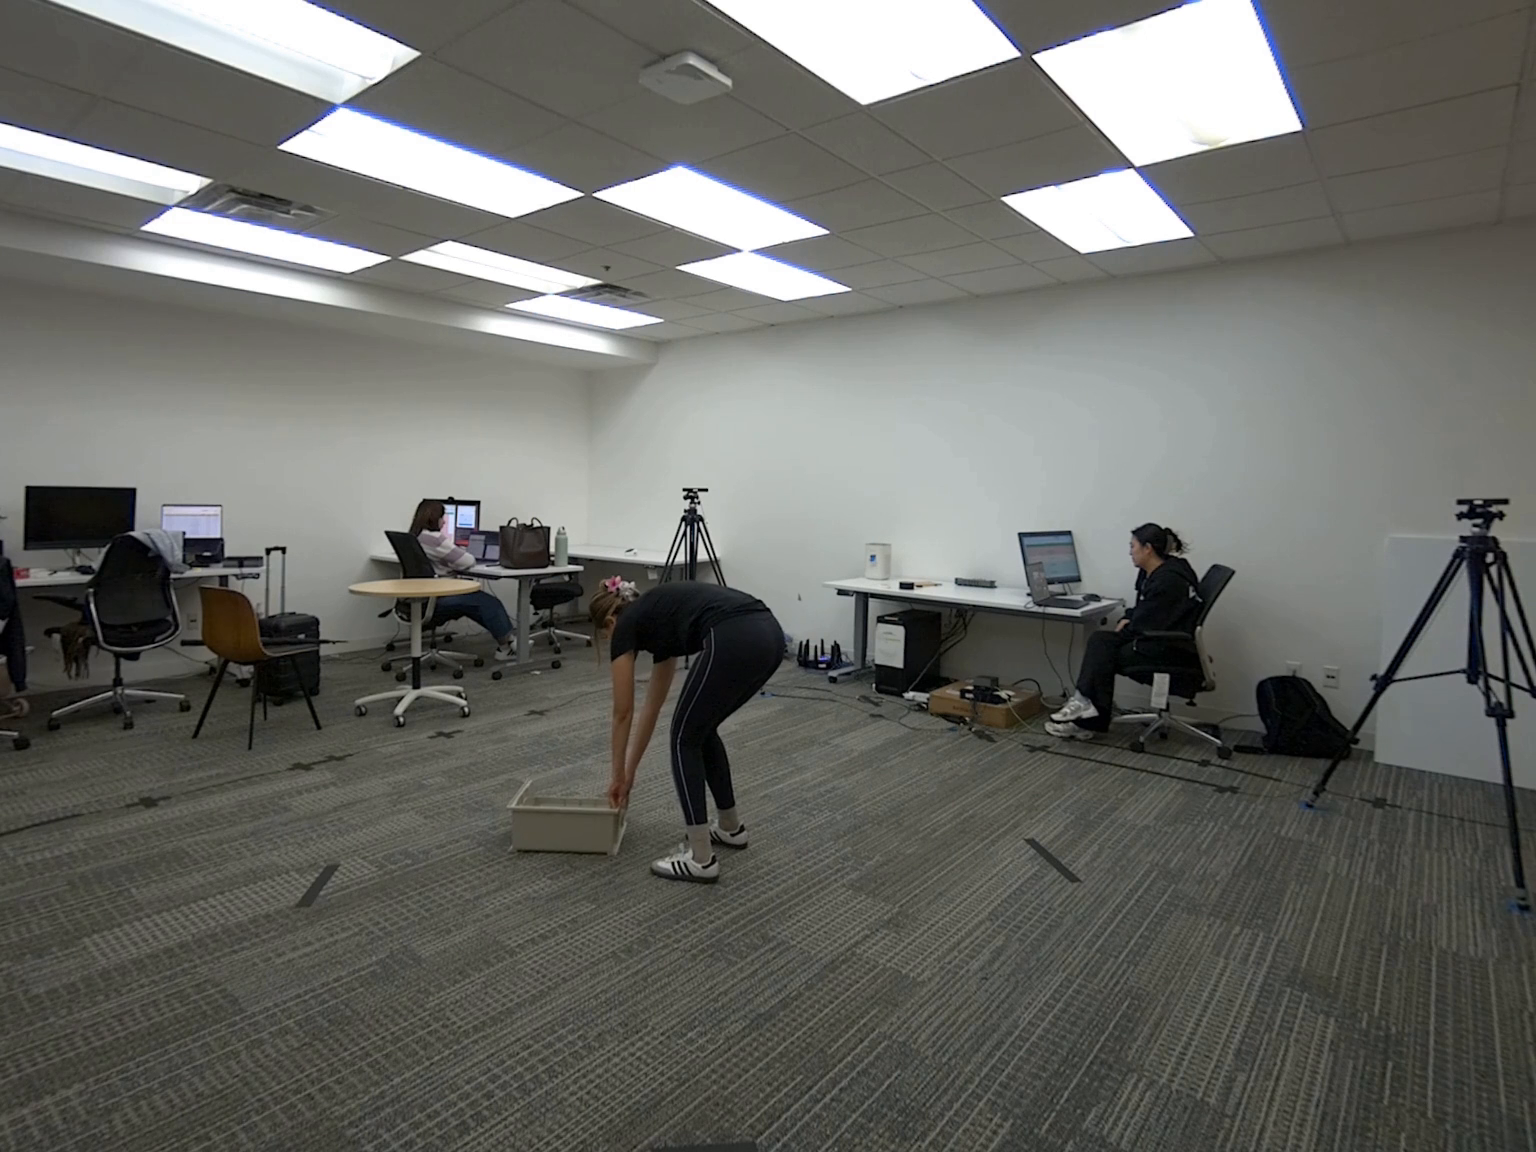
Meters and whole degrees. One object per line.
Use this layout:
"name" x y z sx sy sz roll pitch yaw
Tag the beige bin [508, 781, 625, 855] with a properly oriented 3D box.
"beige bin" -0.793 0.943 3.386 0.422 0.188 0.379 2 5 -1
